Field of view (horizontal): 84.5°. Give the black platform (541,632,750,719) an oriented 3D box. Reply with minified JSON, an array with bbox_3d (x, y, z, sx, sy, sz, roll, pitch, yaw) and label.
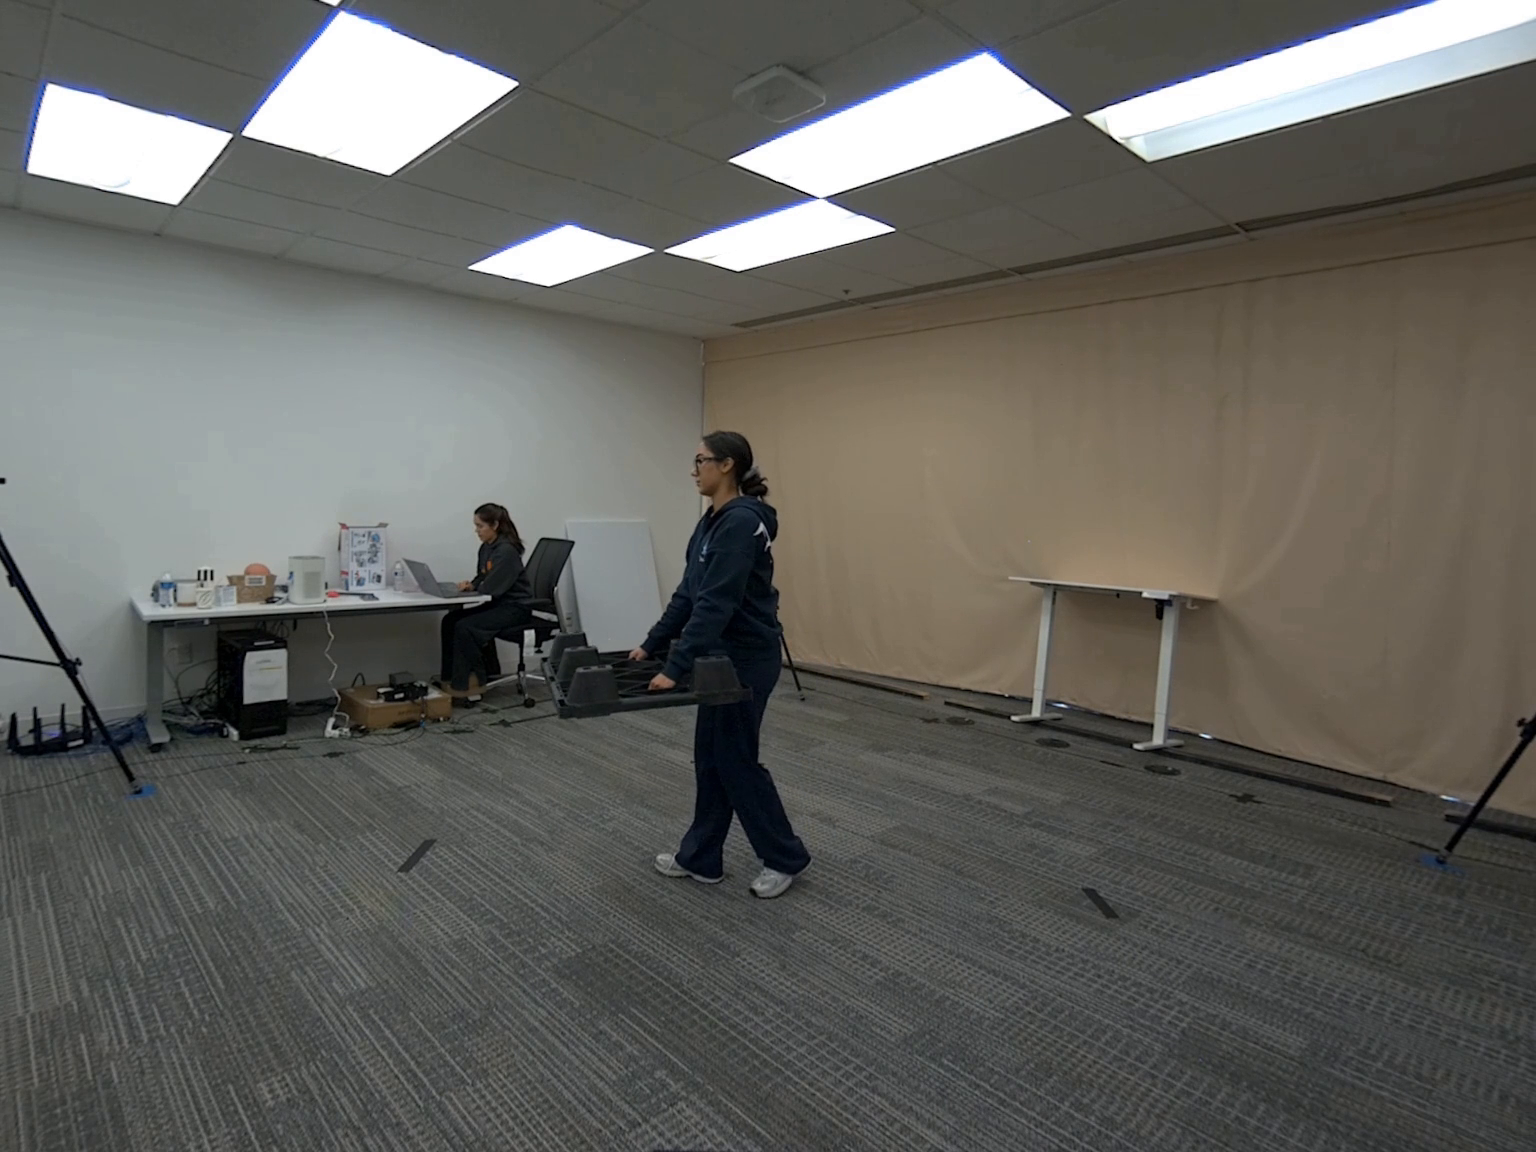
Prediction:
[{"bbox_3d":[-0.459,0.304,2.908,0.597,0.143,0.819,-4,6,-18],"label":"black platform"}]
